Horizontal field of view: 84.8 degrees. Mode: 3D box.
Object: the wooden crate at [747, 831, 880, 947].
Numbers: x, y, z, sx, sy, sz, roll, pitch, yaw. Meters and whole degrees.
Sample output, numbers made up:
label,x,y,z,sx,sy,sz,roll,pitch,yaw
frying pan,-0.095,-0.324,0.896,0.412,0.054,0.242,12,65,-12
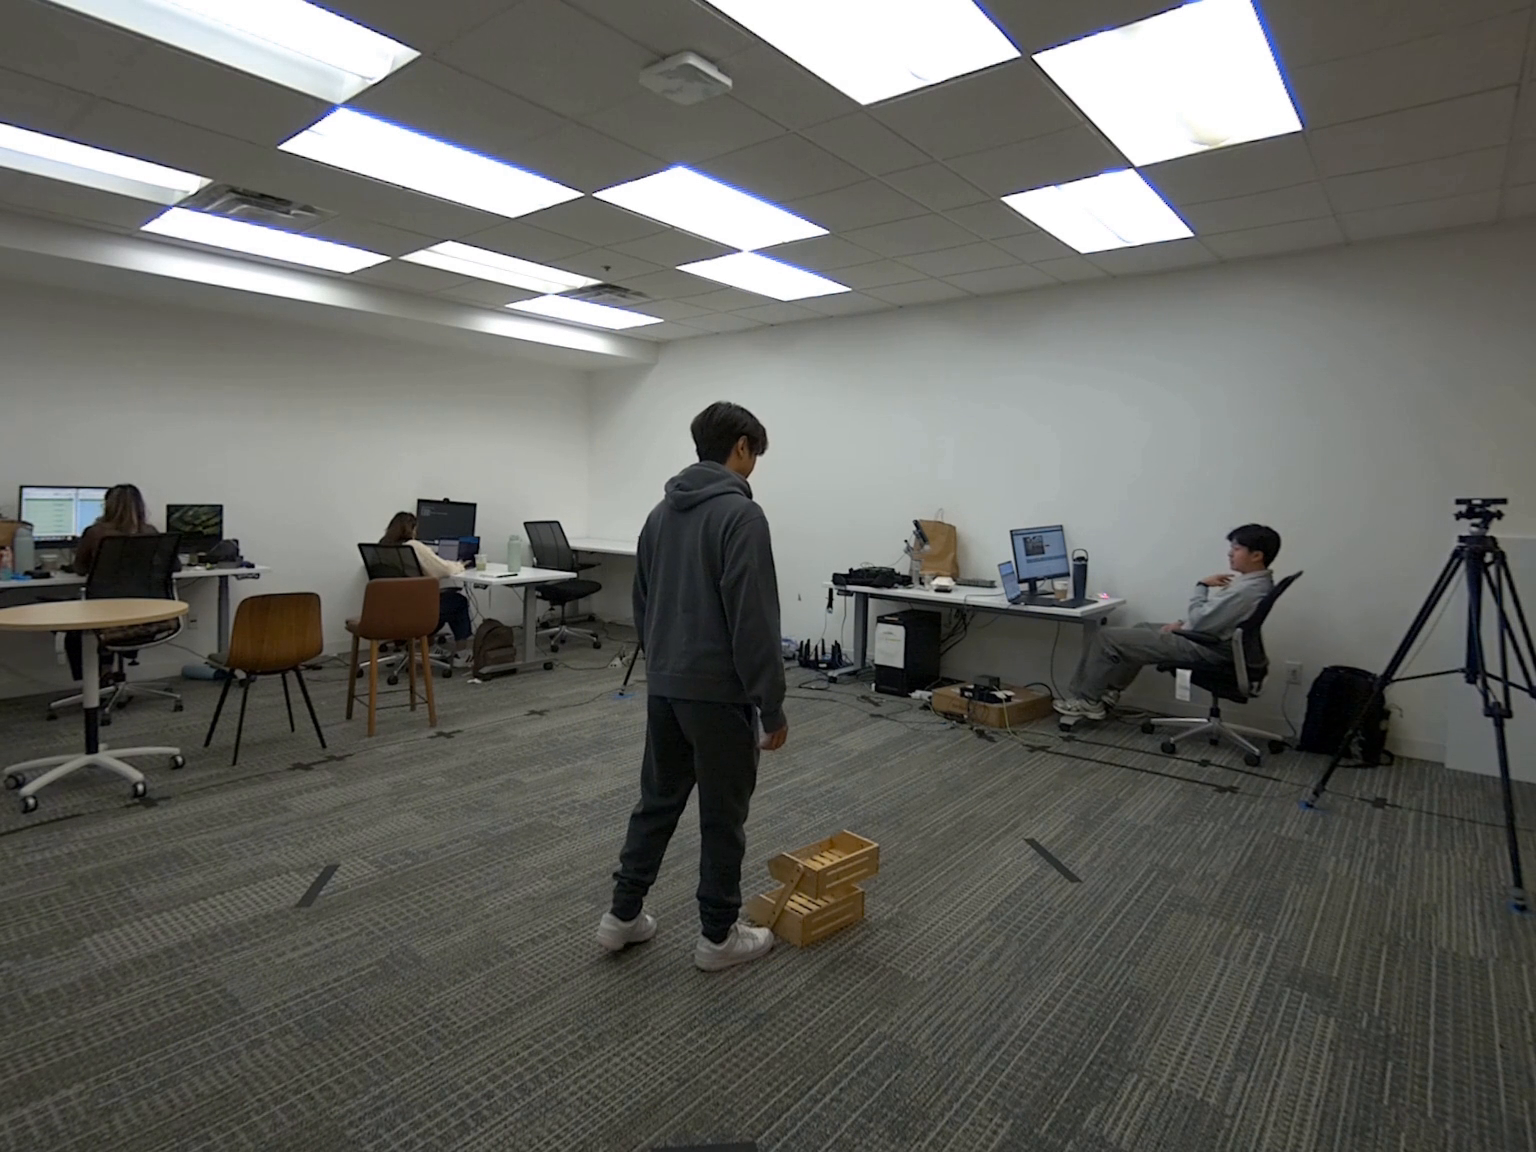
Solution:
label,x,y,z,sx,sy,sz,roll,pitch,yaw
wooden crate,0.136,0.977,2.754,0.314,0.272,0.313,-3,7,-43
